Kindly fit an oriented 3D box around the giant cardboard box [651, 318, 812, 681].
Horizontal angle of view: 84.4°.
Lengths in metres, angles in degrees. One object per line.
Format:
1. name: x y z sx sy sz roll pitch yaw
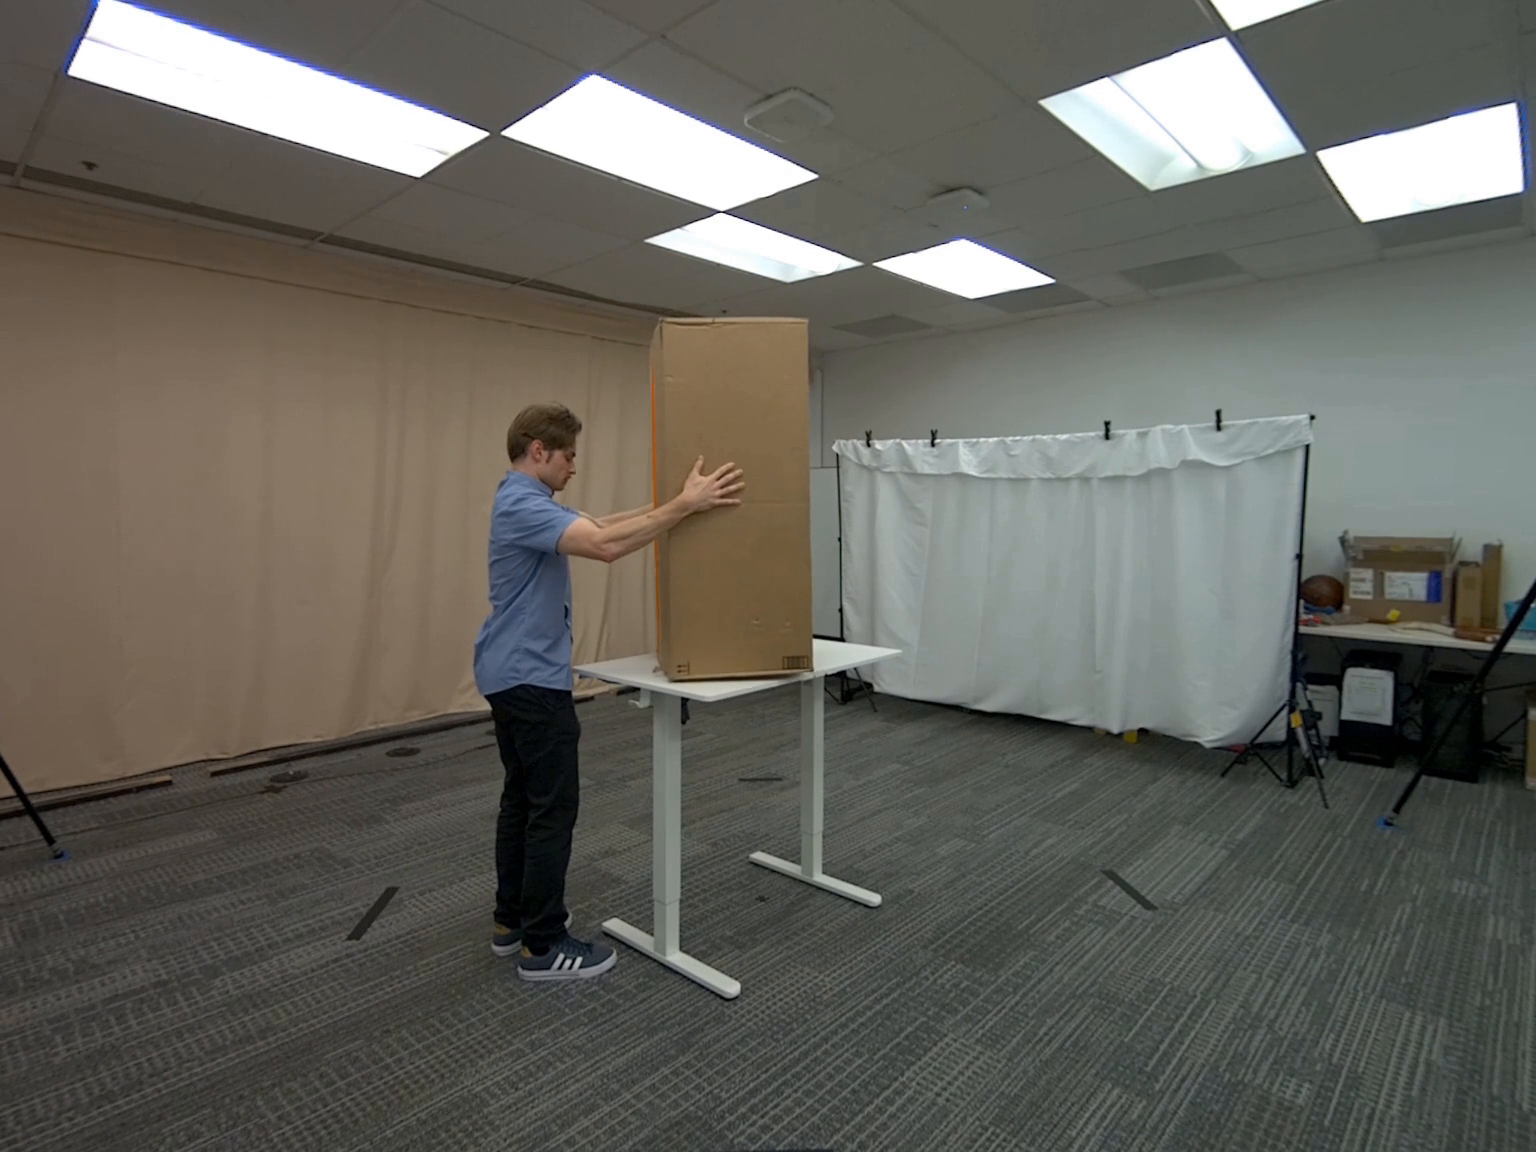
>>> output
1. giant cardboard box: -0.137 -0.239 2.677 0.422 1.023 0.584 -2 4 -10
